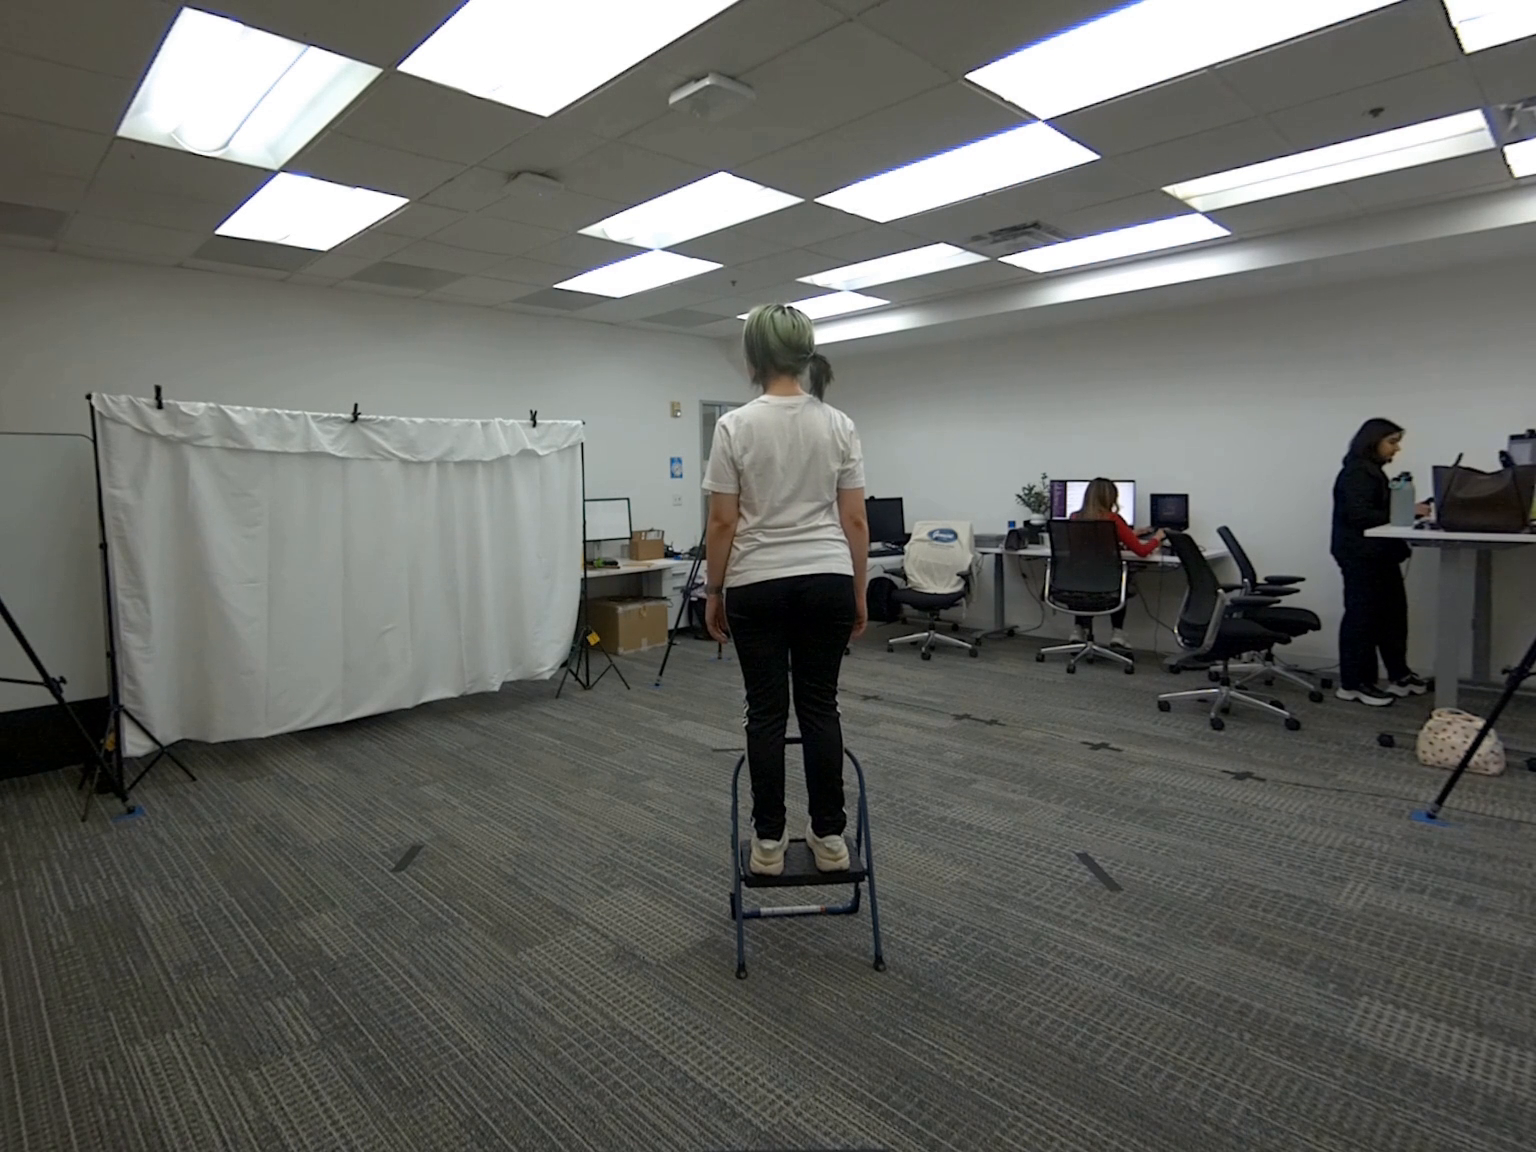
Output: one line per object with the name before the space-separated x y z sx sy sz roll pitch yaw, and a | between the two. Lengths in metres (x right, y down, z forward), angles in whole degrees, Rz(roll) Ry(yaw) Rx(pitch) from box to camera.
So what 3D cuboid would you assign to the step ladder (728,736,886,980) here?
step ladder | 0.104 0.809 2.565 0.429 0.603 0.352 -1 5 -5
